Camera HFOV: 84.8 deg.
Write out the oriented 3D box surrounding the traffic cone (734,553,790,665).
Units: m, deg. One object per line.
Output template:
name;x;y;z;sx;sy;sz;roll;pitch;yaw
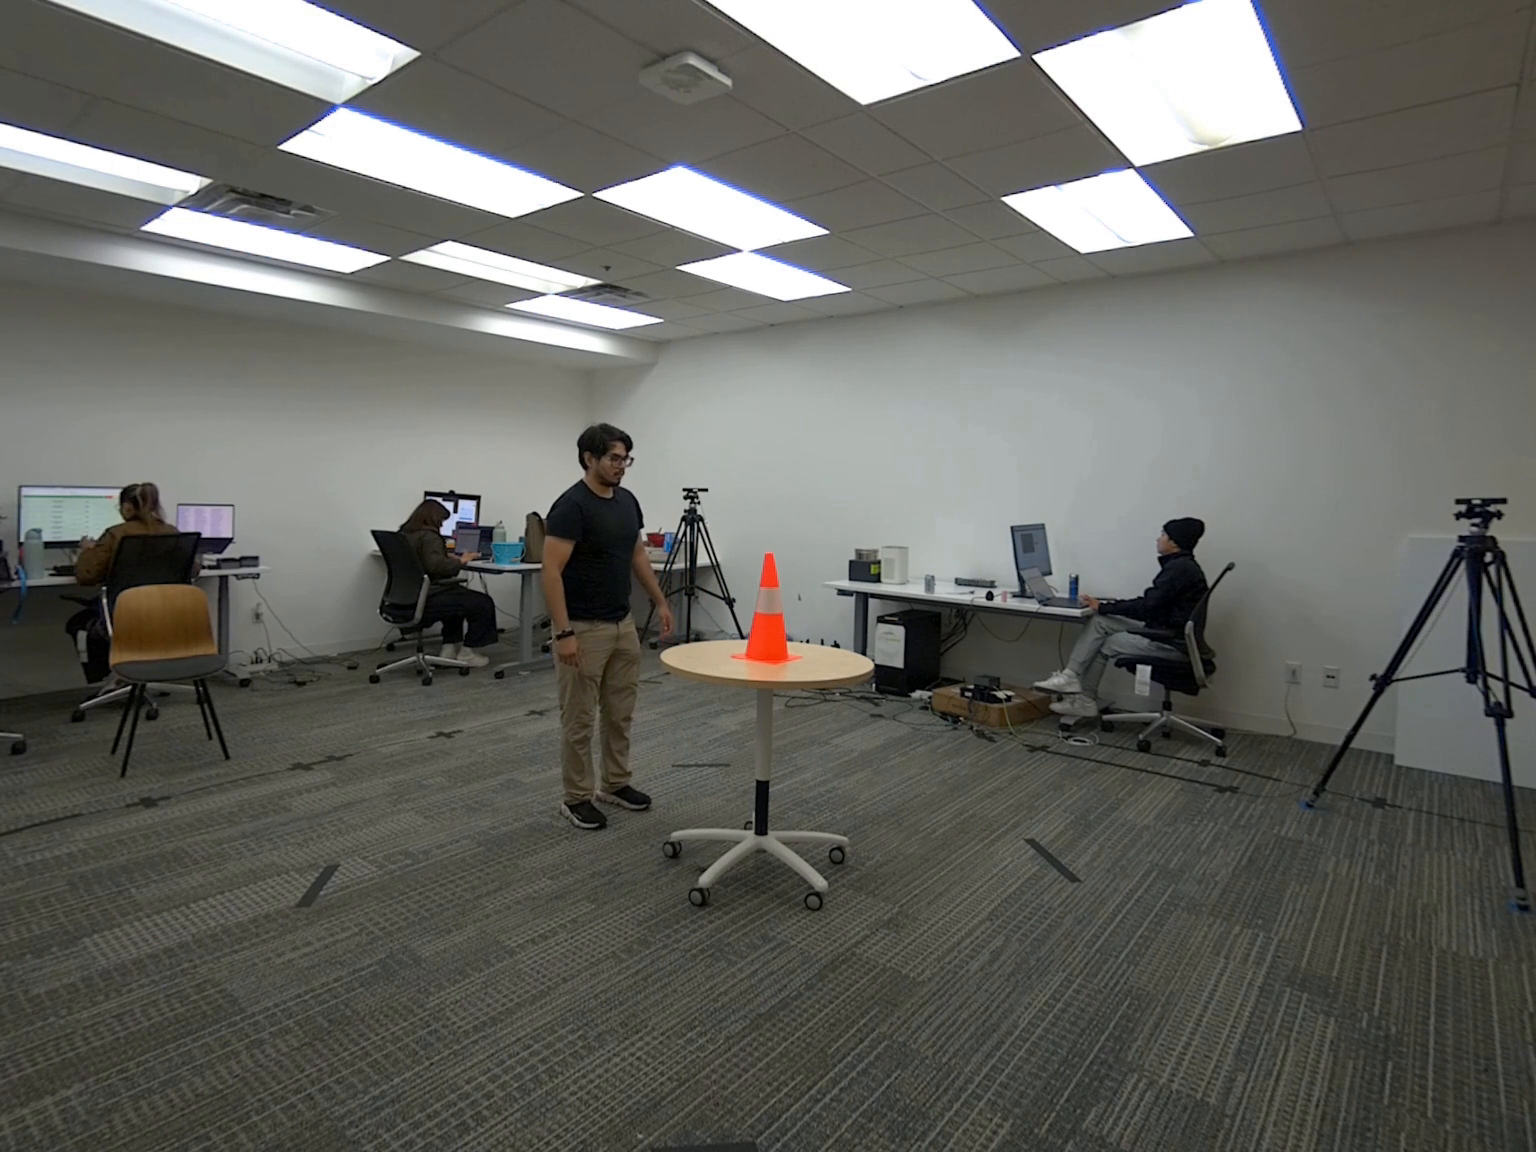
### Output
traffic cone;-0.002;0.107;3.073;0.211;0.382;0.198;5;5;29
